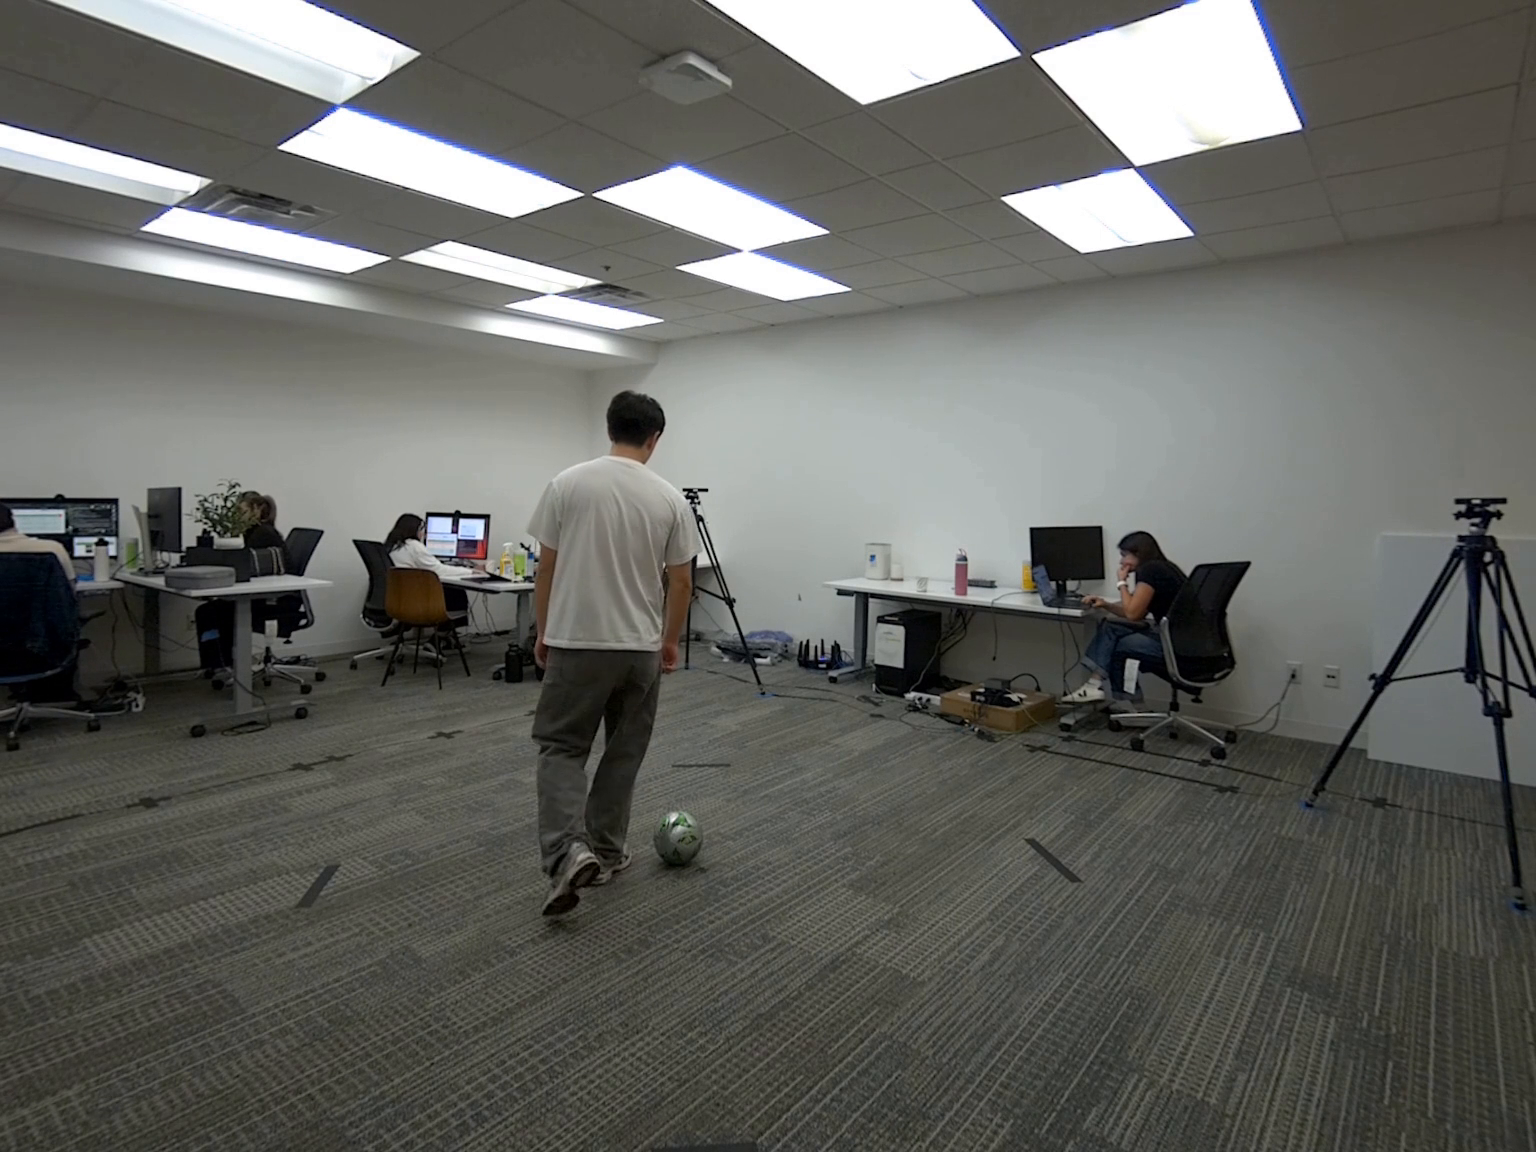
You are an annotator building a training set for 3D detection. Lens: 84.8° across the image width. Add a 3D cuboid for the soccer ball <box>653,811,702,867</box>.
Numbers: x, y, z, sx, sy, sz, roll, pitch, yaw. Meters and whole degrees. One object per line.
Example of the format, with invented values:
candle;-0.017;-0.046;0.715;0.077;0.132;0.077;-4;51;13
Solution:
soccer ball;-0.332;0.965;3.164;0.187;0.187;0.188;1;4;-2
